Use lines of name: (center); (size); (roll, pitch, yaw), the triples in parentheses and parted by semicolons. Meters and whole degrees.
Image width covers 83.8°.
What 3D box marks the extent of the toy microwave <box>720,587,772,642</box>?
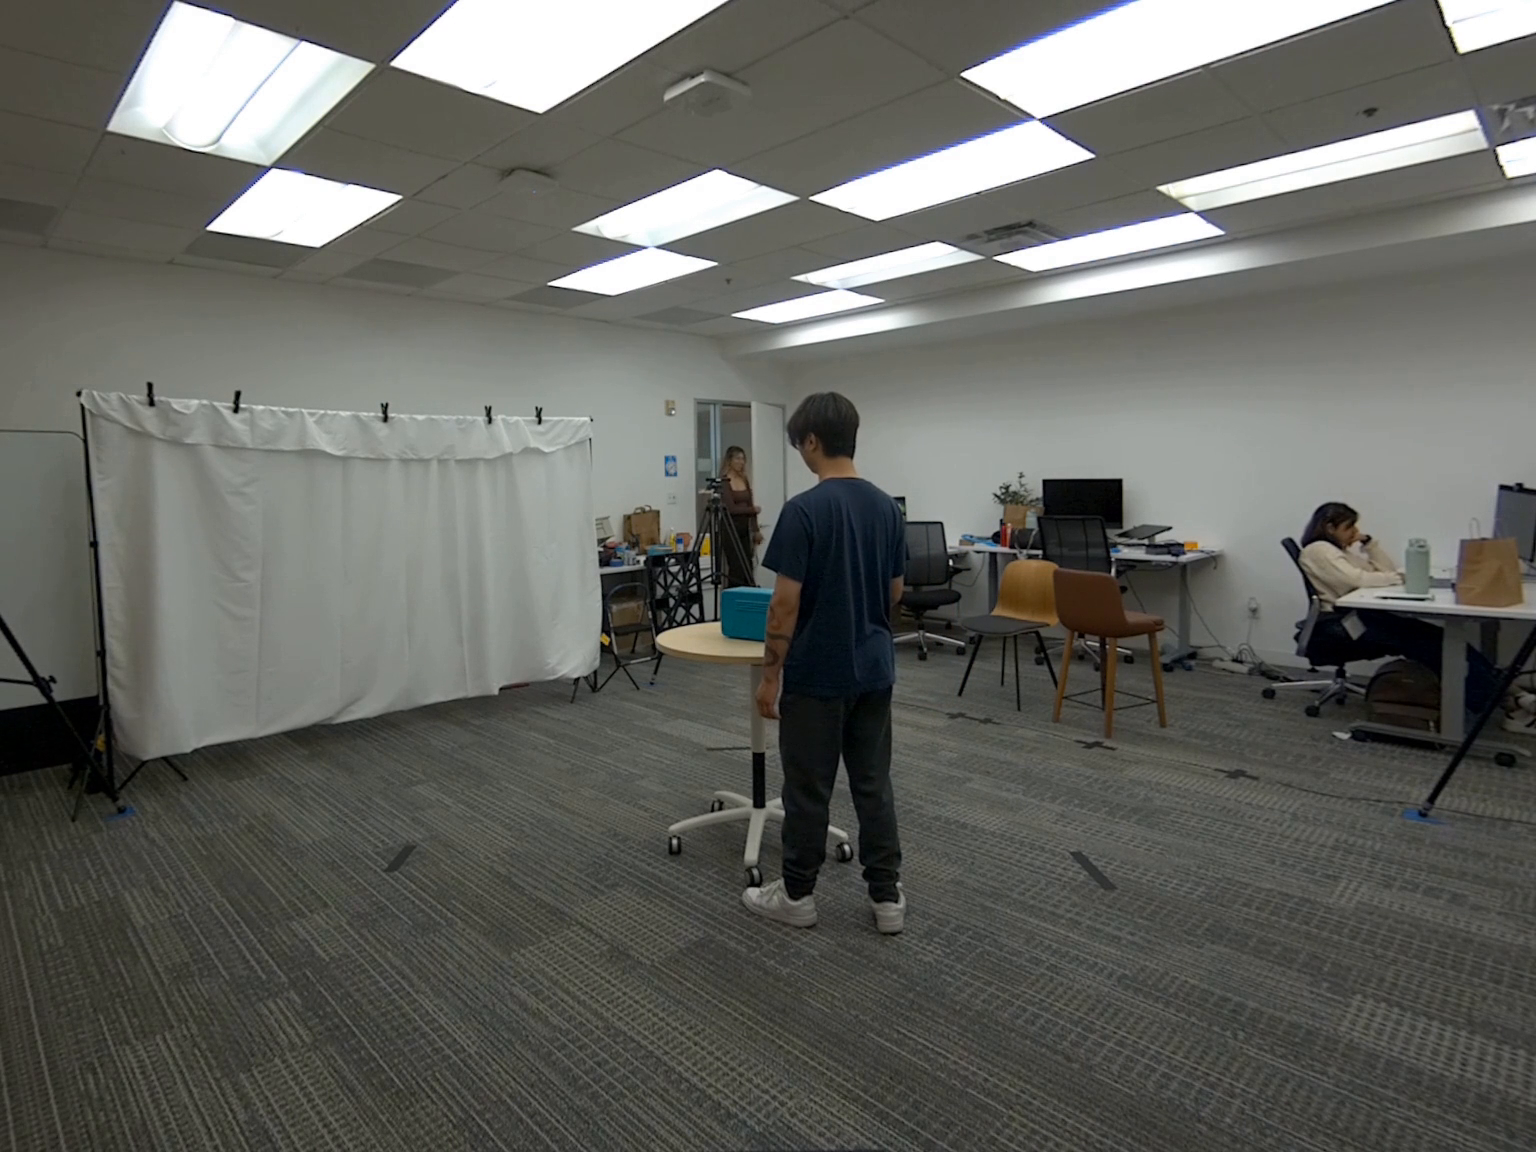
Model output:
toy microwave: (-0.023, 0.144, 3.194); (0.294, 0.184, 0.148); (3, 4, 32)
